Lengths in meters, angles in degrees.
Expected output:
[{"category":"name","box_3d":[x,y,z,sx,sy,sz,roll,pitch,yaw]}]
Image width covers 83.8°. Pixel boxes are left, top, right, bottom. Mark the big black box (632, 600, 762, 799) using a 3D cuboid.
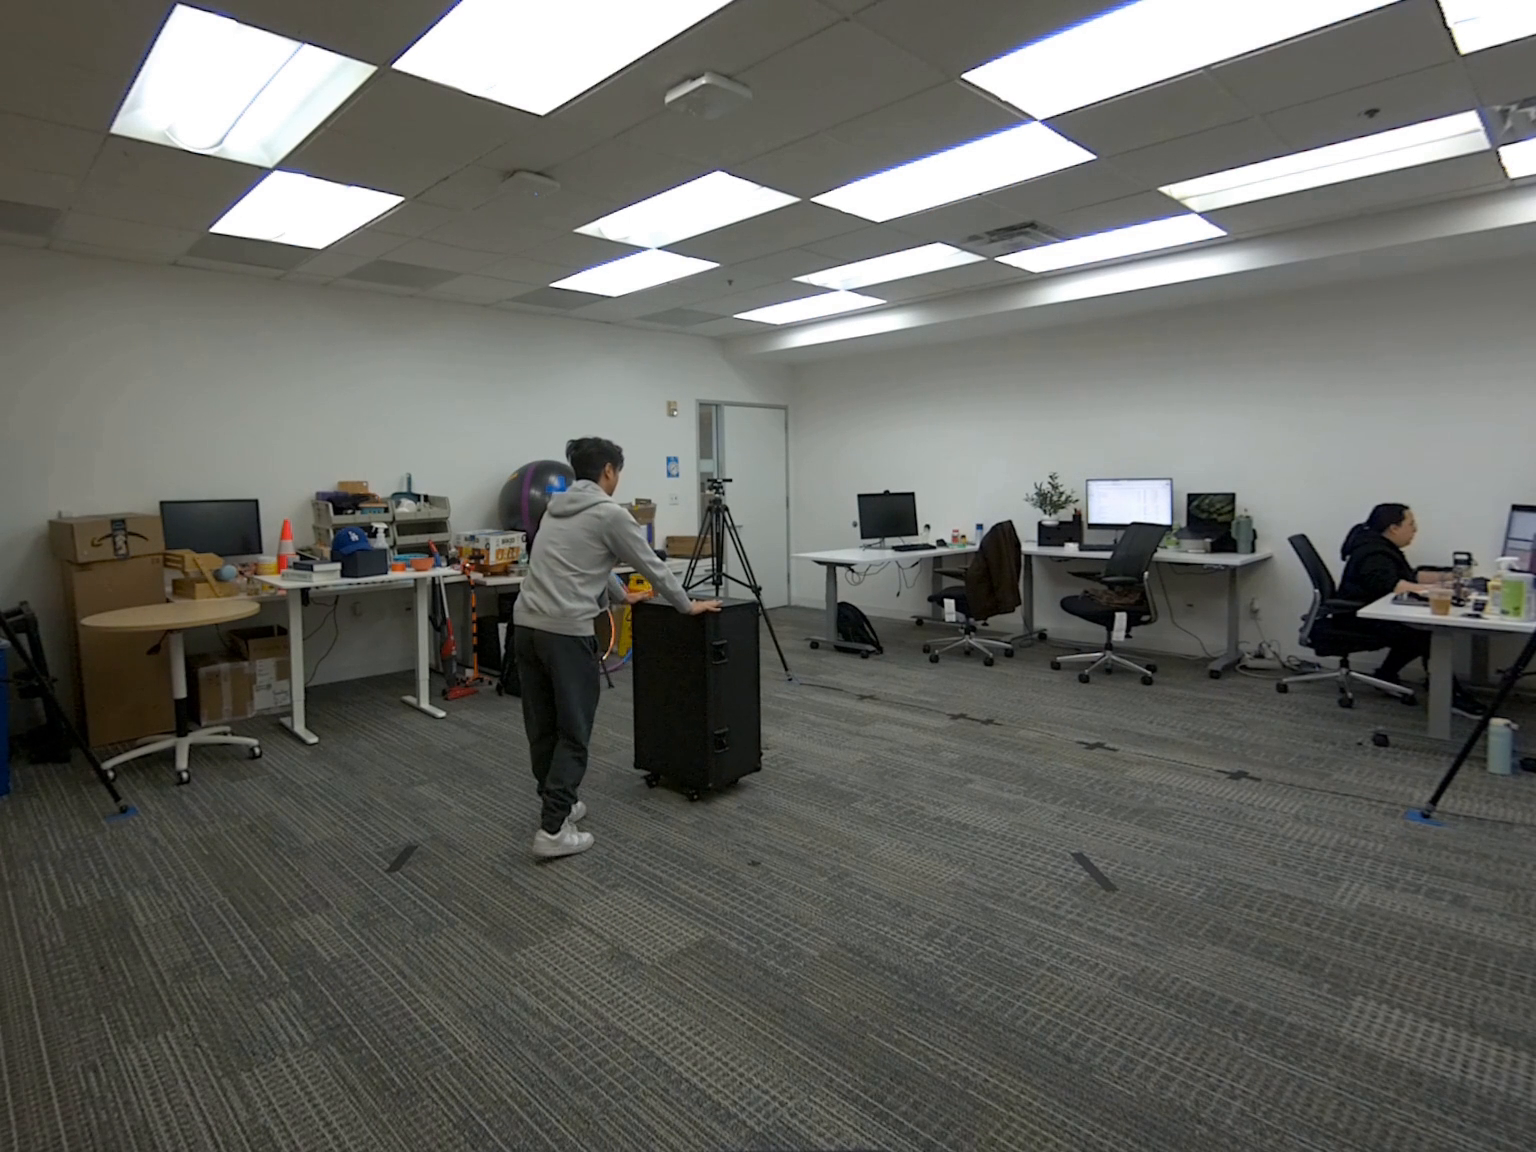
[{"category":"big black box","box_3d":[-0.328,0.535,3.926,0.537,0.859,0.385,2,4,42]}]
